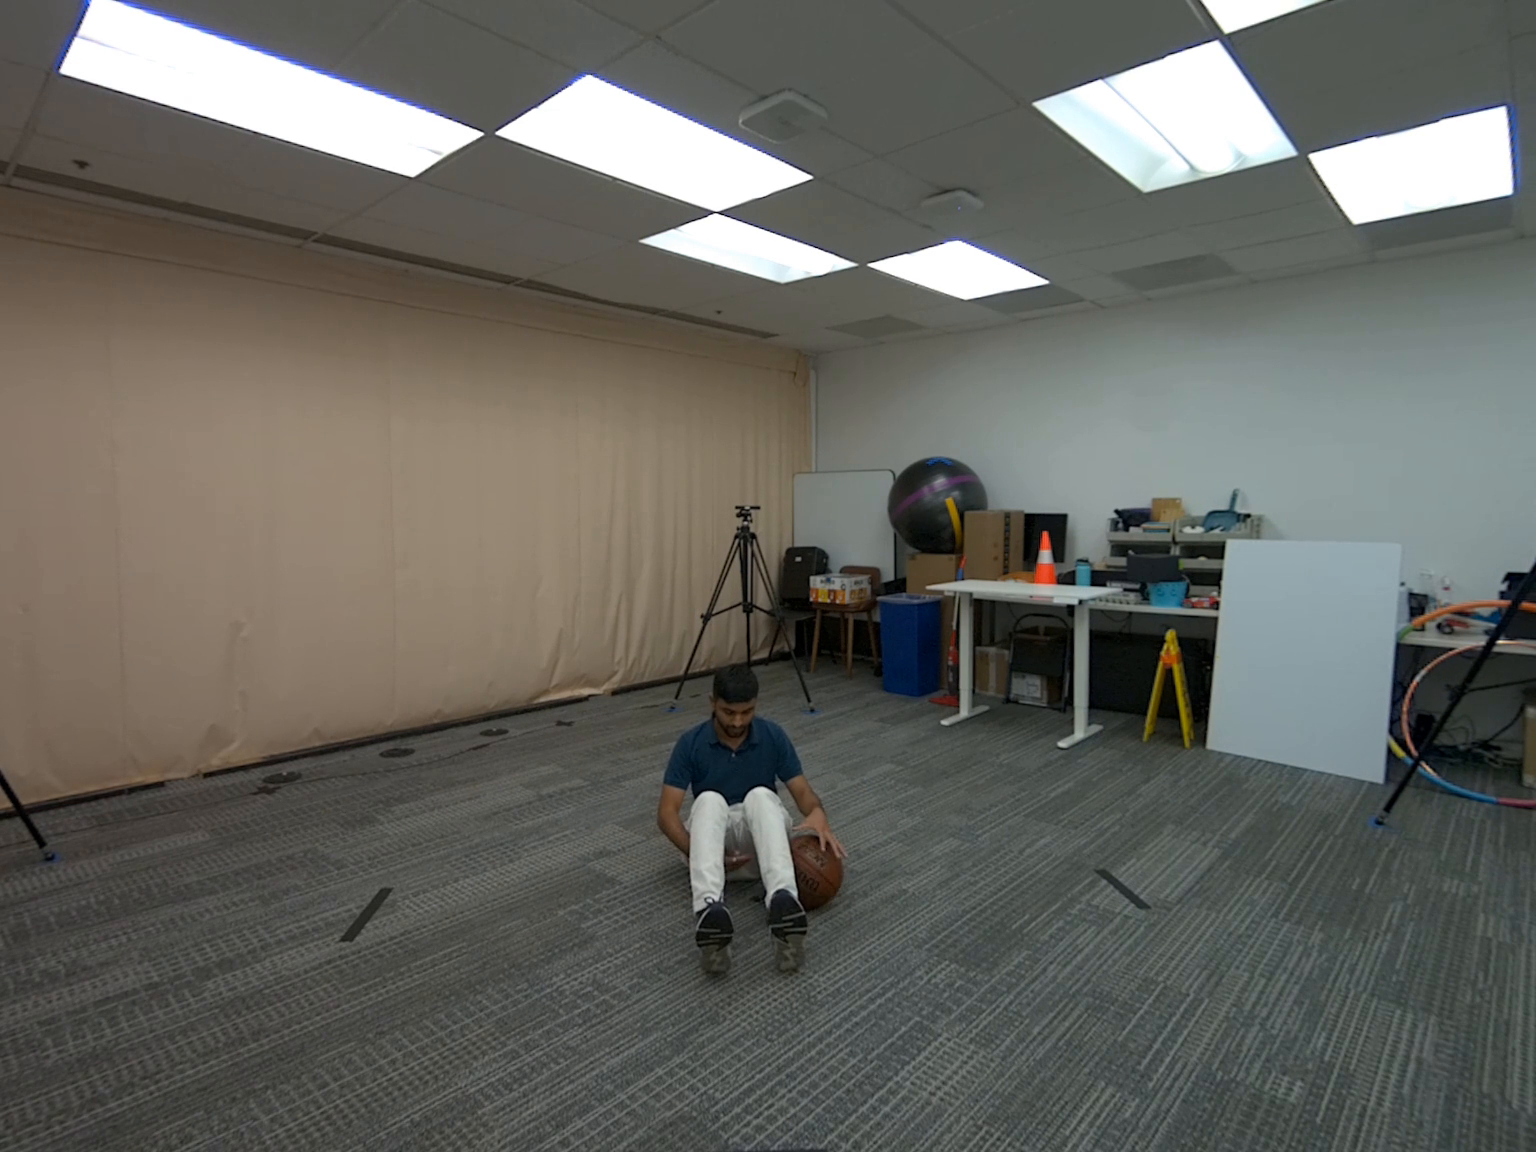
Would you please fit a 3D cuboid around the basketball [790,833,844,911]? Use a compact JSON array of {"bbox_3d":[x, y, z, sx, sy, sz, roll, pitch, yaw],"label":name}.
[{"bbox_3d":[0.145,1.017,2.932,0.236,0.235,0.237,0,4,-2],"label":"basketball"}]
